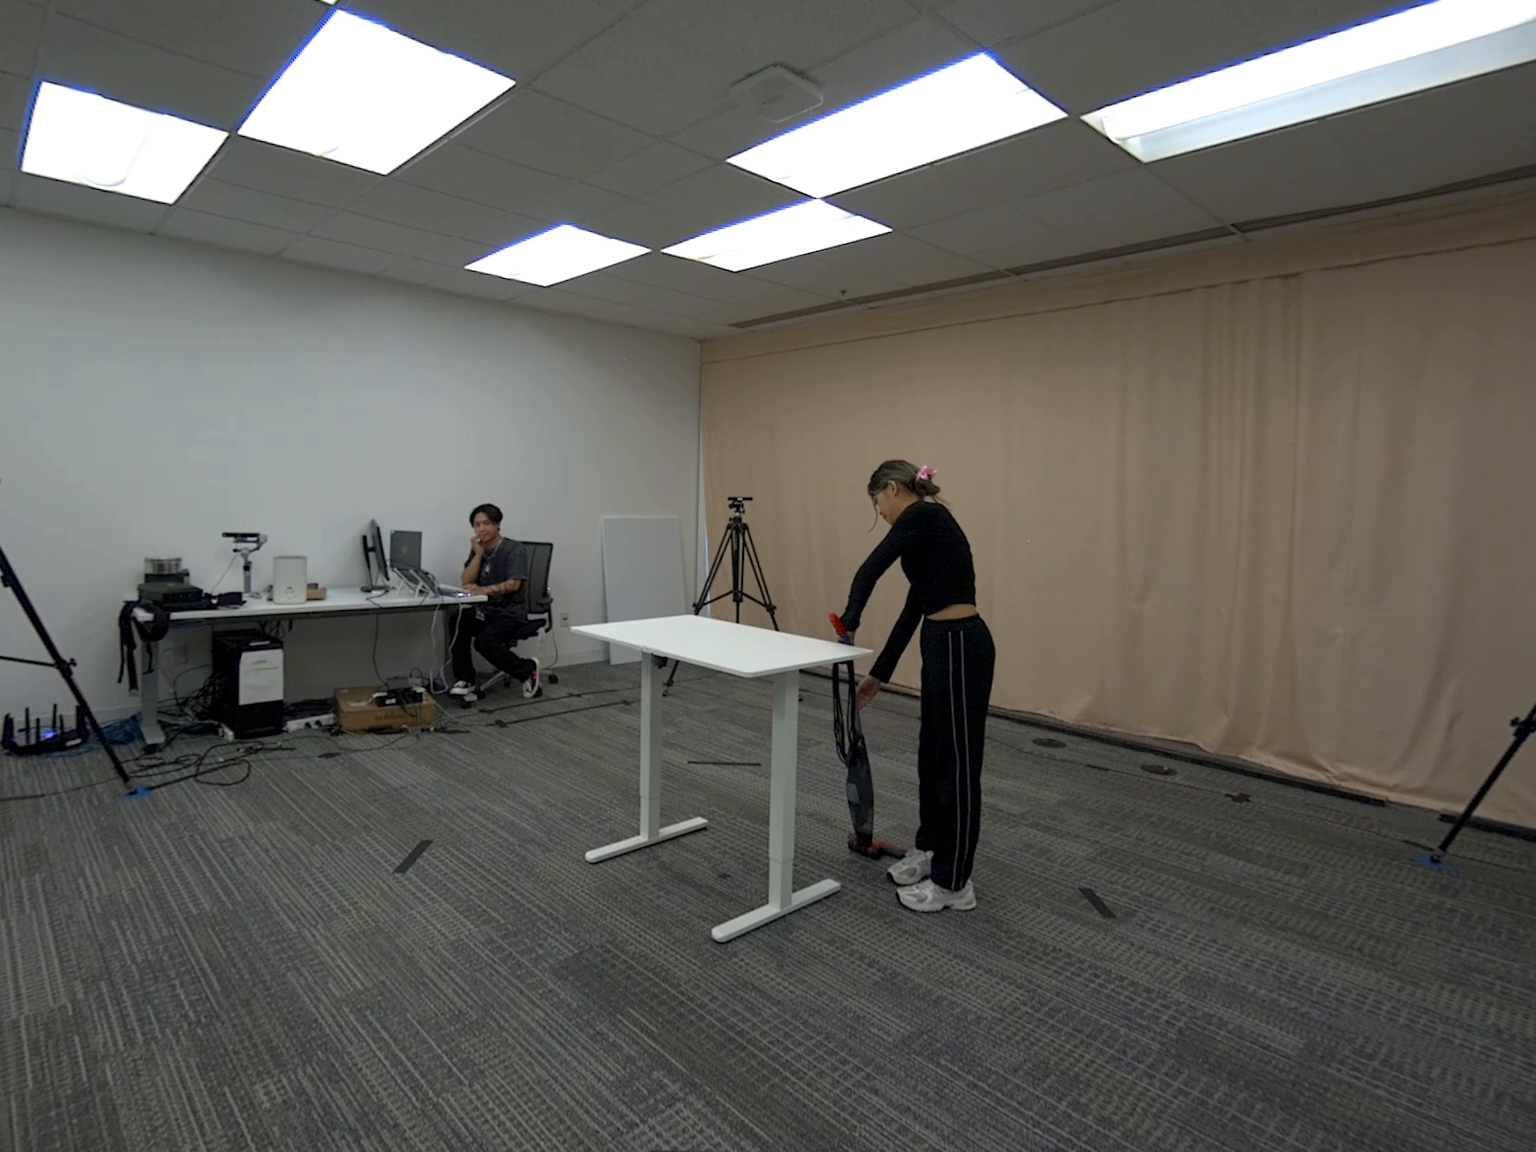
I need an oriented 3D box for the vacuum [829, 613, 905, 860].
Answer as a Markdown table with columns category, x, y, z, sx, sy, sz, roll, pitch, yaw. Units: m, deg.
| category | x | y | z | sx | sy | sz | roll | pitch | yaw |
| --- | --- | --- | --- | --- | --- | --- | --- | --- | --- |
| vacuum | 0.309 | 0.621 | 3.193 | 0.142 | 1.032 | 0.259 | -24 | 23 | -33 |
